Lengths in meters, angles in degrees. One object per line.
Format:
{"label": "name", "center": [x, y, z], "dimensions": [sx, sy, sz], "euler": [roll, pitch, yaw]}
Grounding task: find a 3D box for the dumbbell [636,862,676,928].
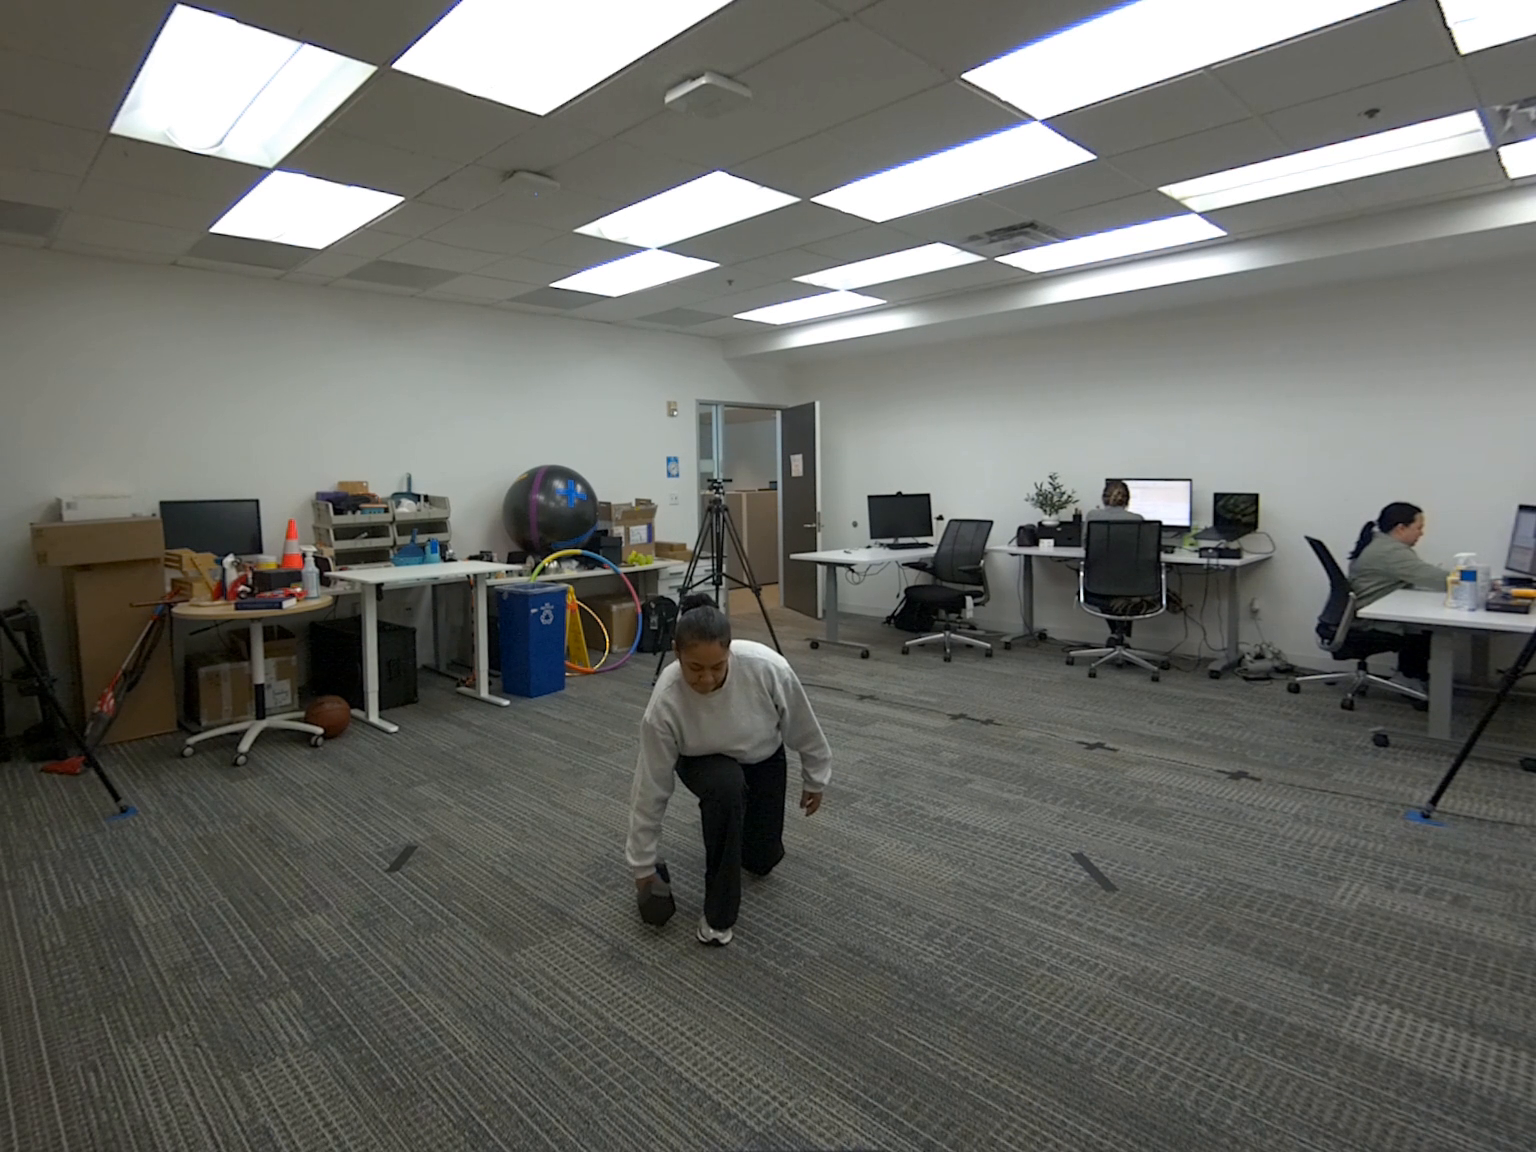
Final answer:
{"label": "dumbbell", "center": [-0.366, 1.002, 2.743], "dimensions": [0.107, 0.123, 0.297], "euler": [43, -4, -11]}
